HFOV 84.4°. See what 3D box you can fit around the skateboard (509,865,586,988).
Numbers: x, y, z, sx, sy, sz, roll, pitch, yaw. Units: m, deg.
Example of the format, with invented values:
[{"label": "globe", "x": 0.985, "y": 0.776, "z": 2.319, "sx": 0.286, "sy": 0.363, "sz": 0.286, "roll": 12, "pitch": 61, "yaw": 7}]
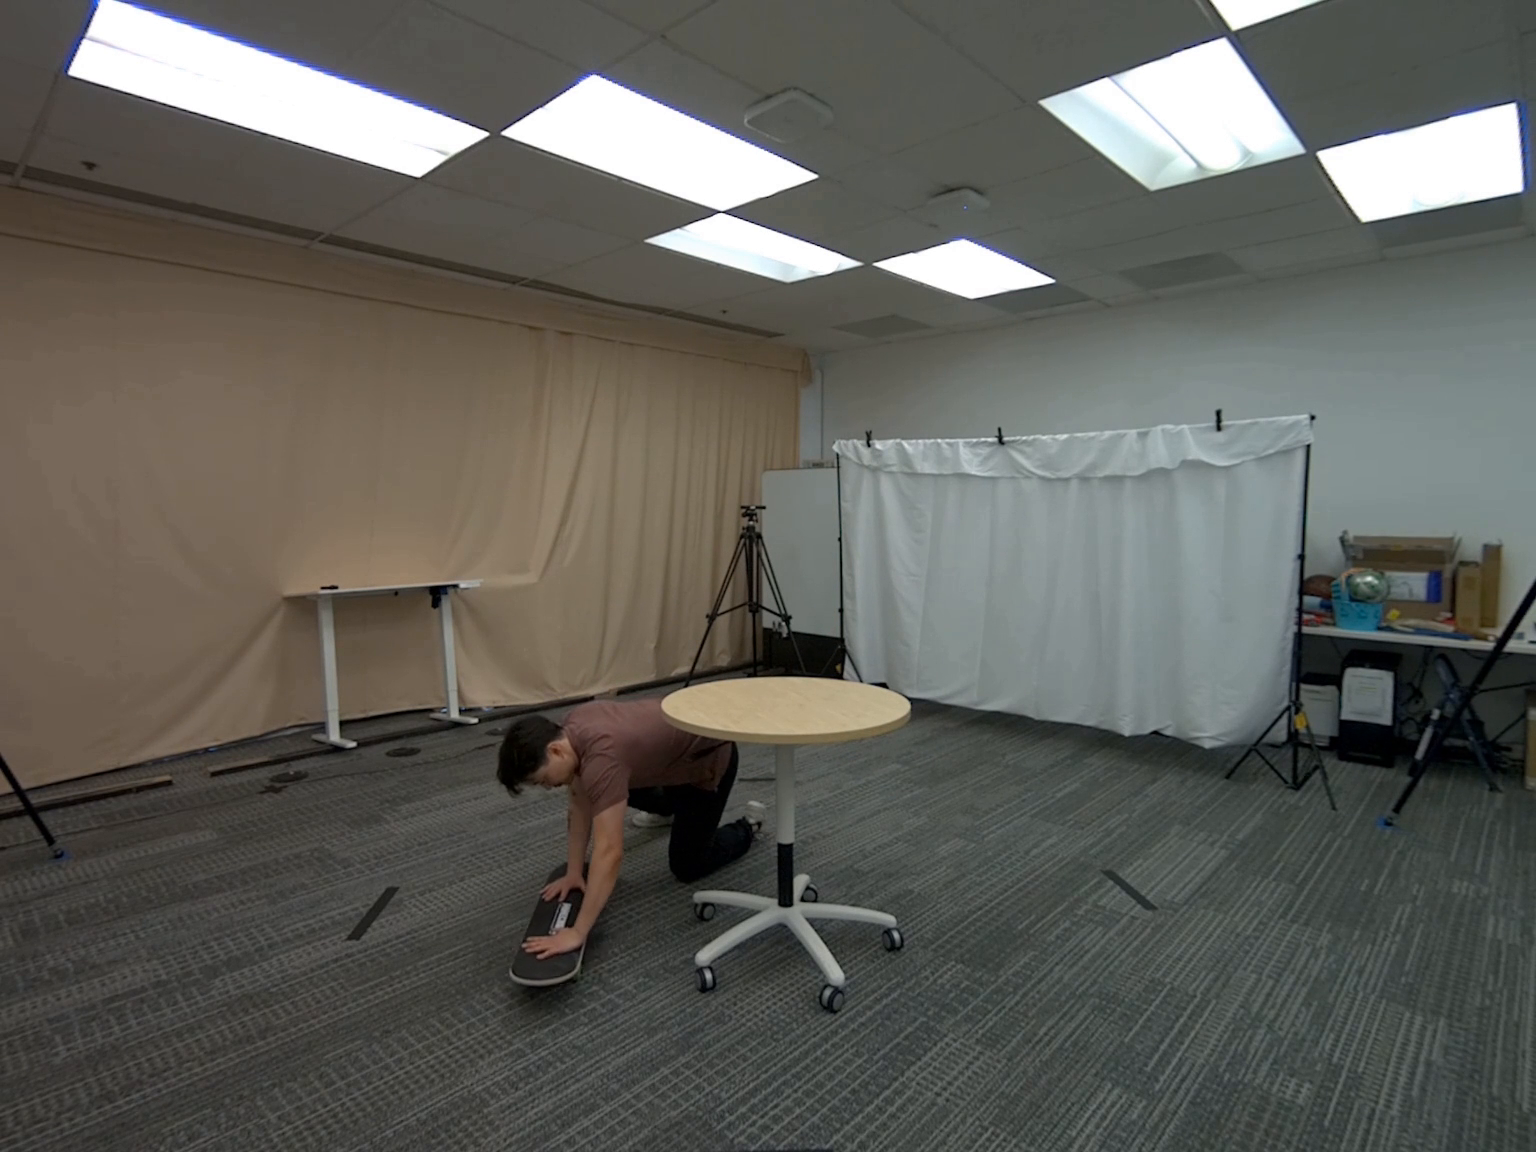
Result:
[{"label": "skateboard", "x": -0.657, "y": 1.118, "z": 2.677, "sx": 0.193, "sy": 0.110, "sz": 0.788, "roll": -1, "pitch": 4, "yaw": -3}]
